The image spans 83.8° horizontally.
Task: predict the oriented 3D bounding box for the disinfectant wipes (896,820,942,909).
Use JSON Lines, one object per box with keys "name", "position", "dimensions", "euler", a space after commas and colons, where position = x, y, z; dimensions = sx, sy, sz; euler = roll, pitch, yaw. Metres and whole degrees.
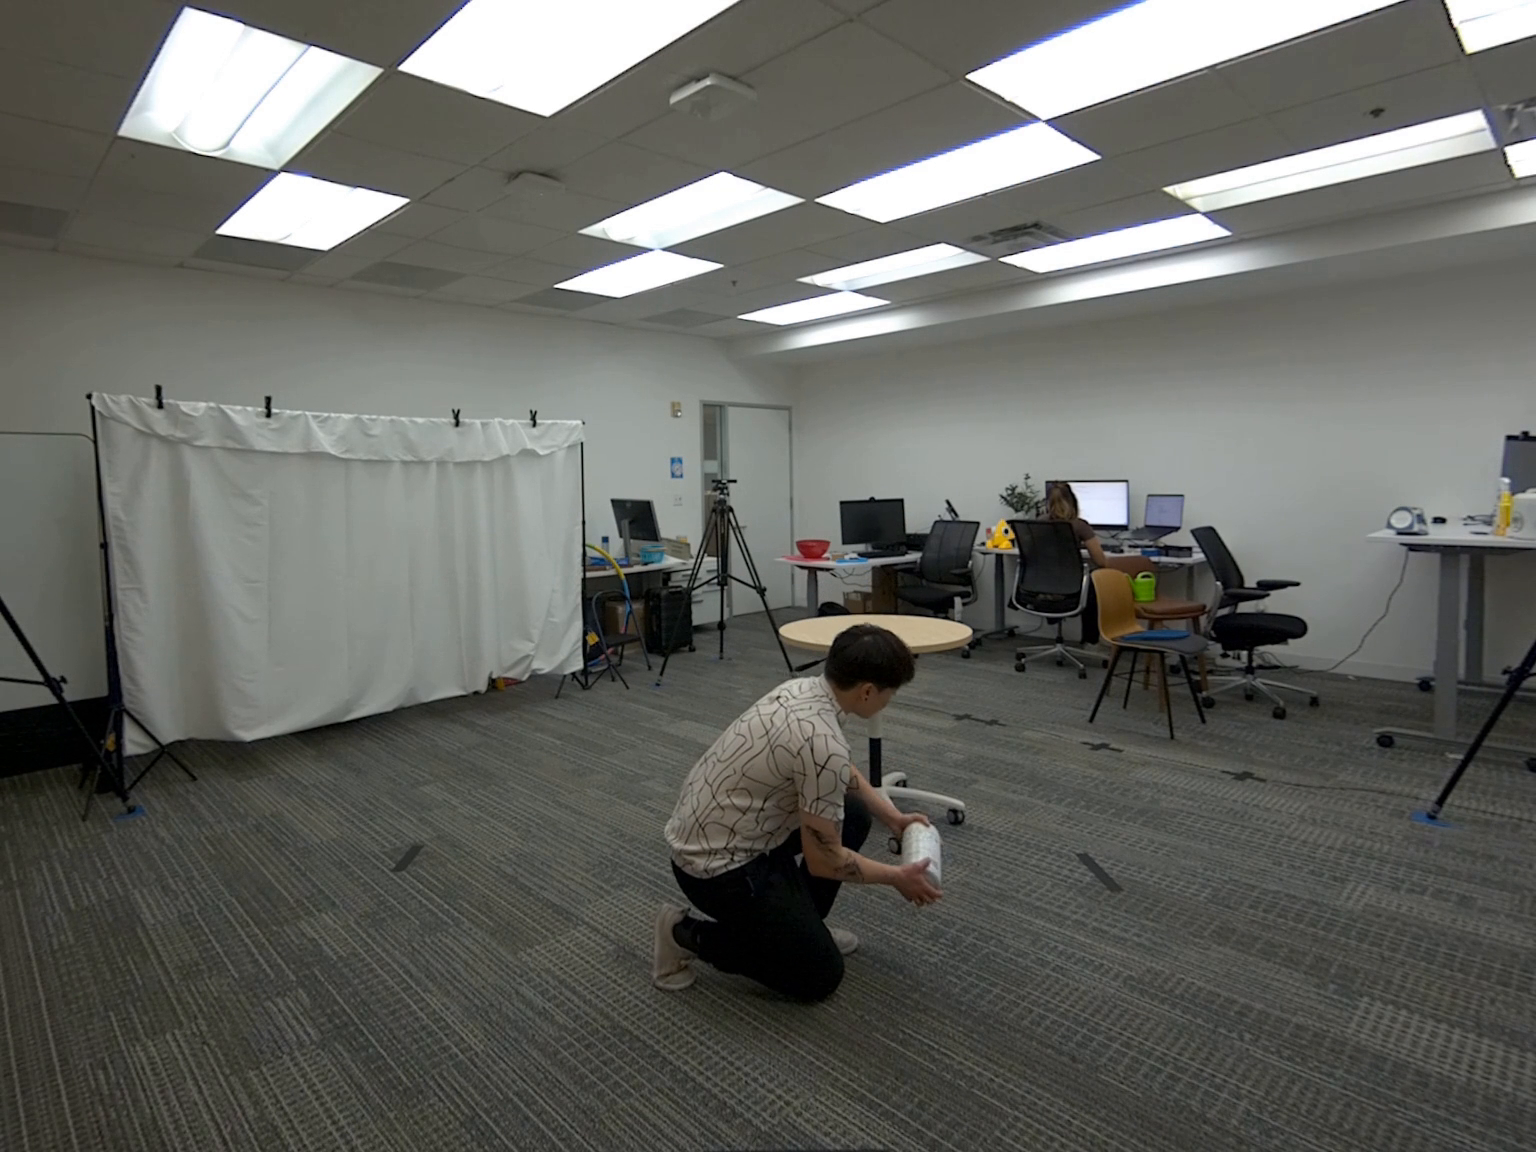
{"name": "disinfectant wipes", "position": [0.424, 0.804, 2.415], "dimensions": [0.119, 0.116, 0.218], "euler": [0, 19, 11]}
